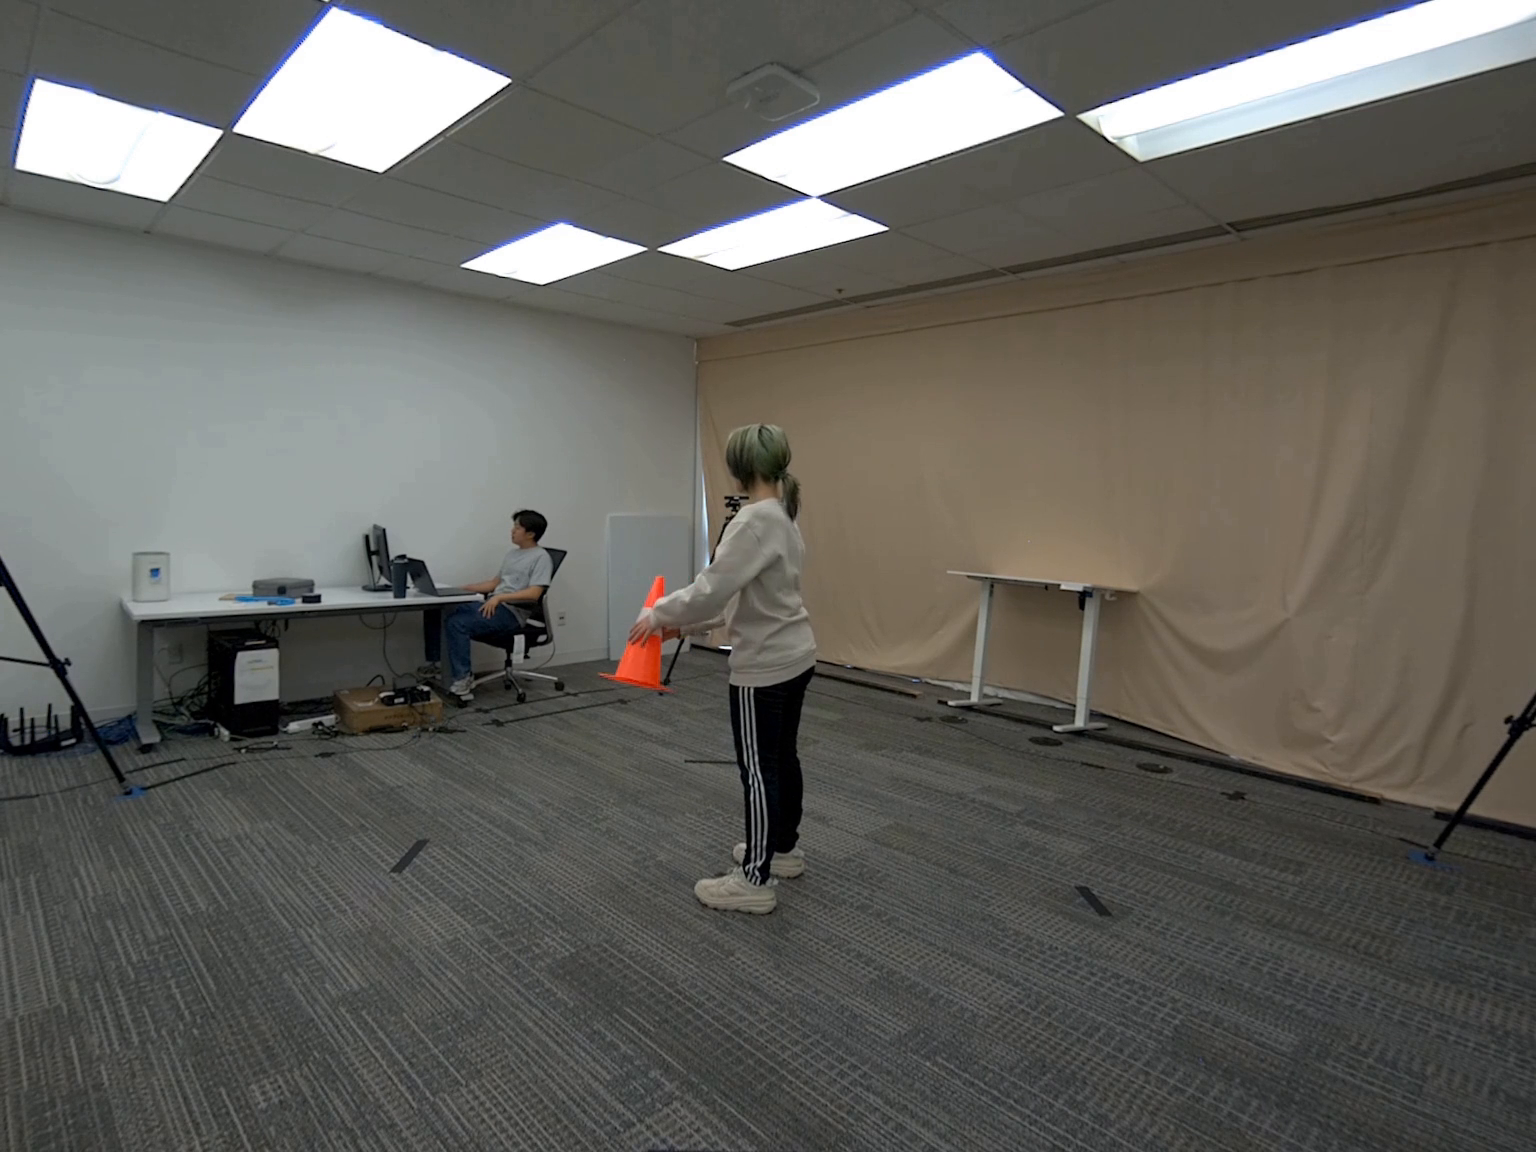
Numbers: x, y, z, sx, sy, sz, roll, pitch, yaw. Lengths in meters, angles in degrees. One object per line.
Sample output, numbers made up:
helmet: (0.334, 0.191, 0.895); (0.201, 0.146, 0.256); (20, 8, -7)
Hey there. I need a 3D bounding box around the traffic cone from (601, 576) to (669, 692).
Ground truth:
traffic cone: (-0.403, 0.172, 2.937); (0.208, 0.387, 0.198); (0, -18, 36)
